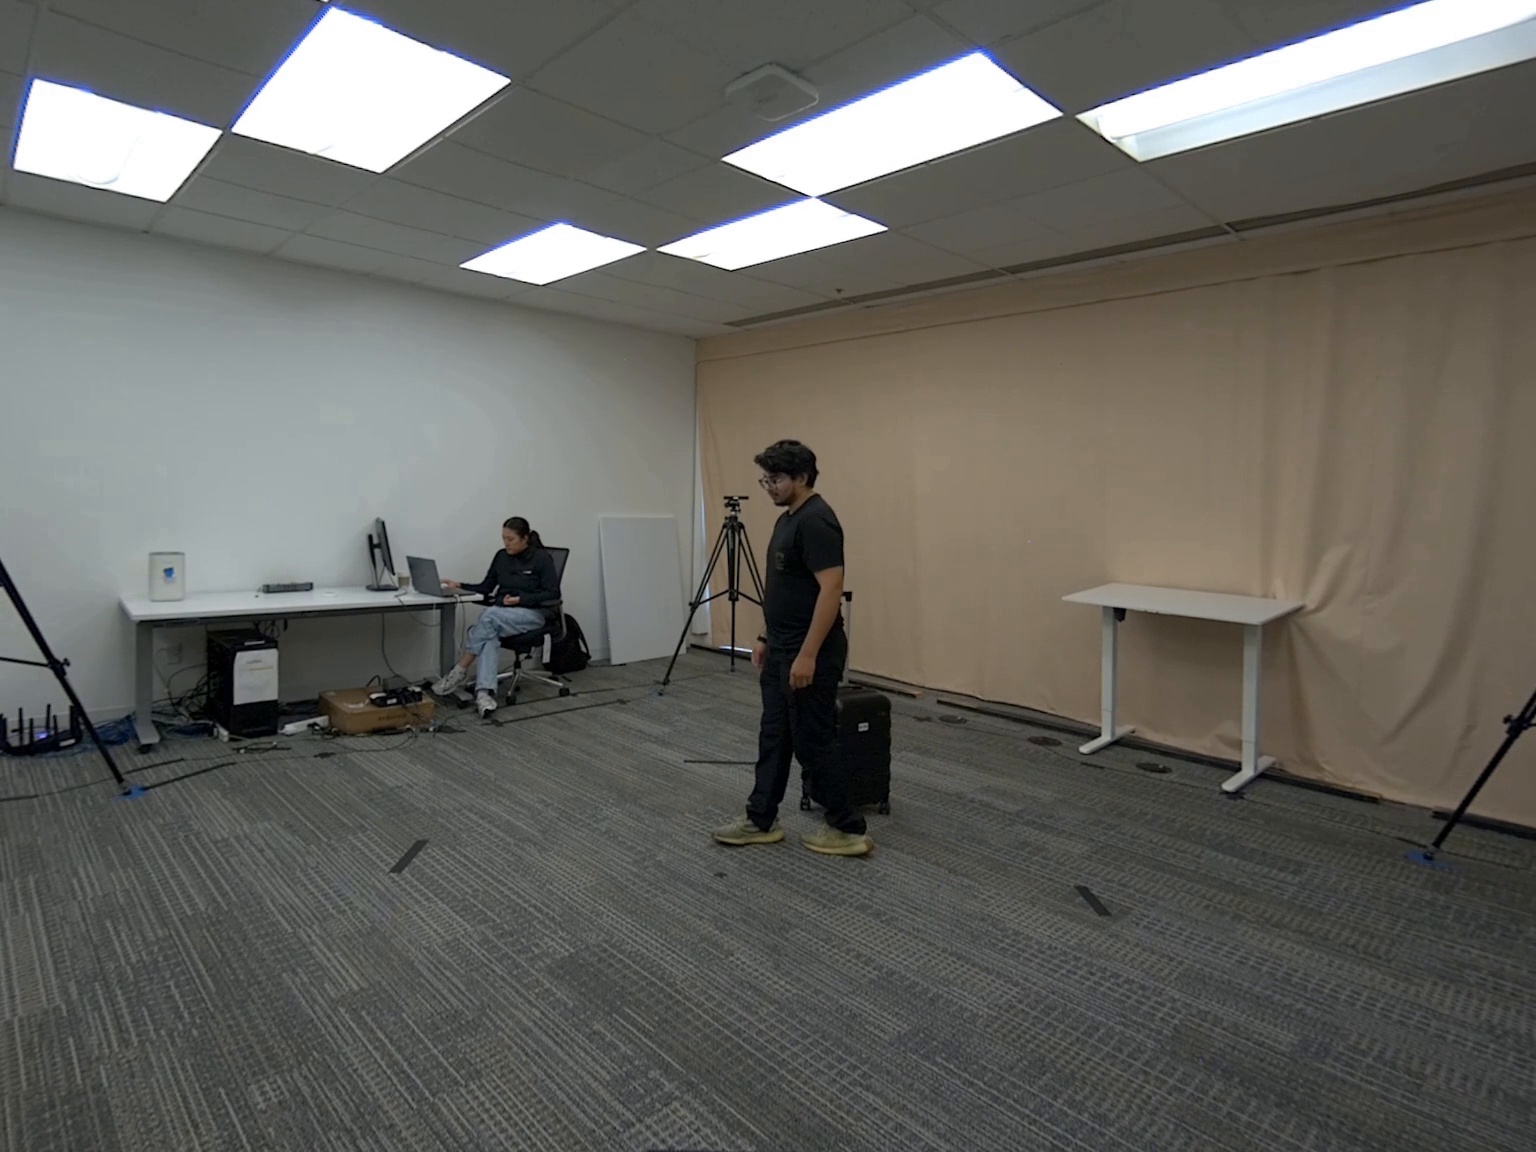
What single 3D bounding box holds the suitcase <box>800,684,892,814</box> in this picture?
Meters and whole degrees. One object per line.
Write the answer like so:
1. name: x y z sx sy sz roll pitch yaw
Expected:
1. suitcase: 0.361 0.577 3.786 0.376 0.976 0.263 0 4 -31
